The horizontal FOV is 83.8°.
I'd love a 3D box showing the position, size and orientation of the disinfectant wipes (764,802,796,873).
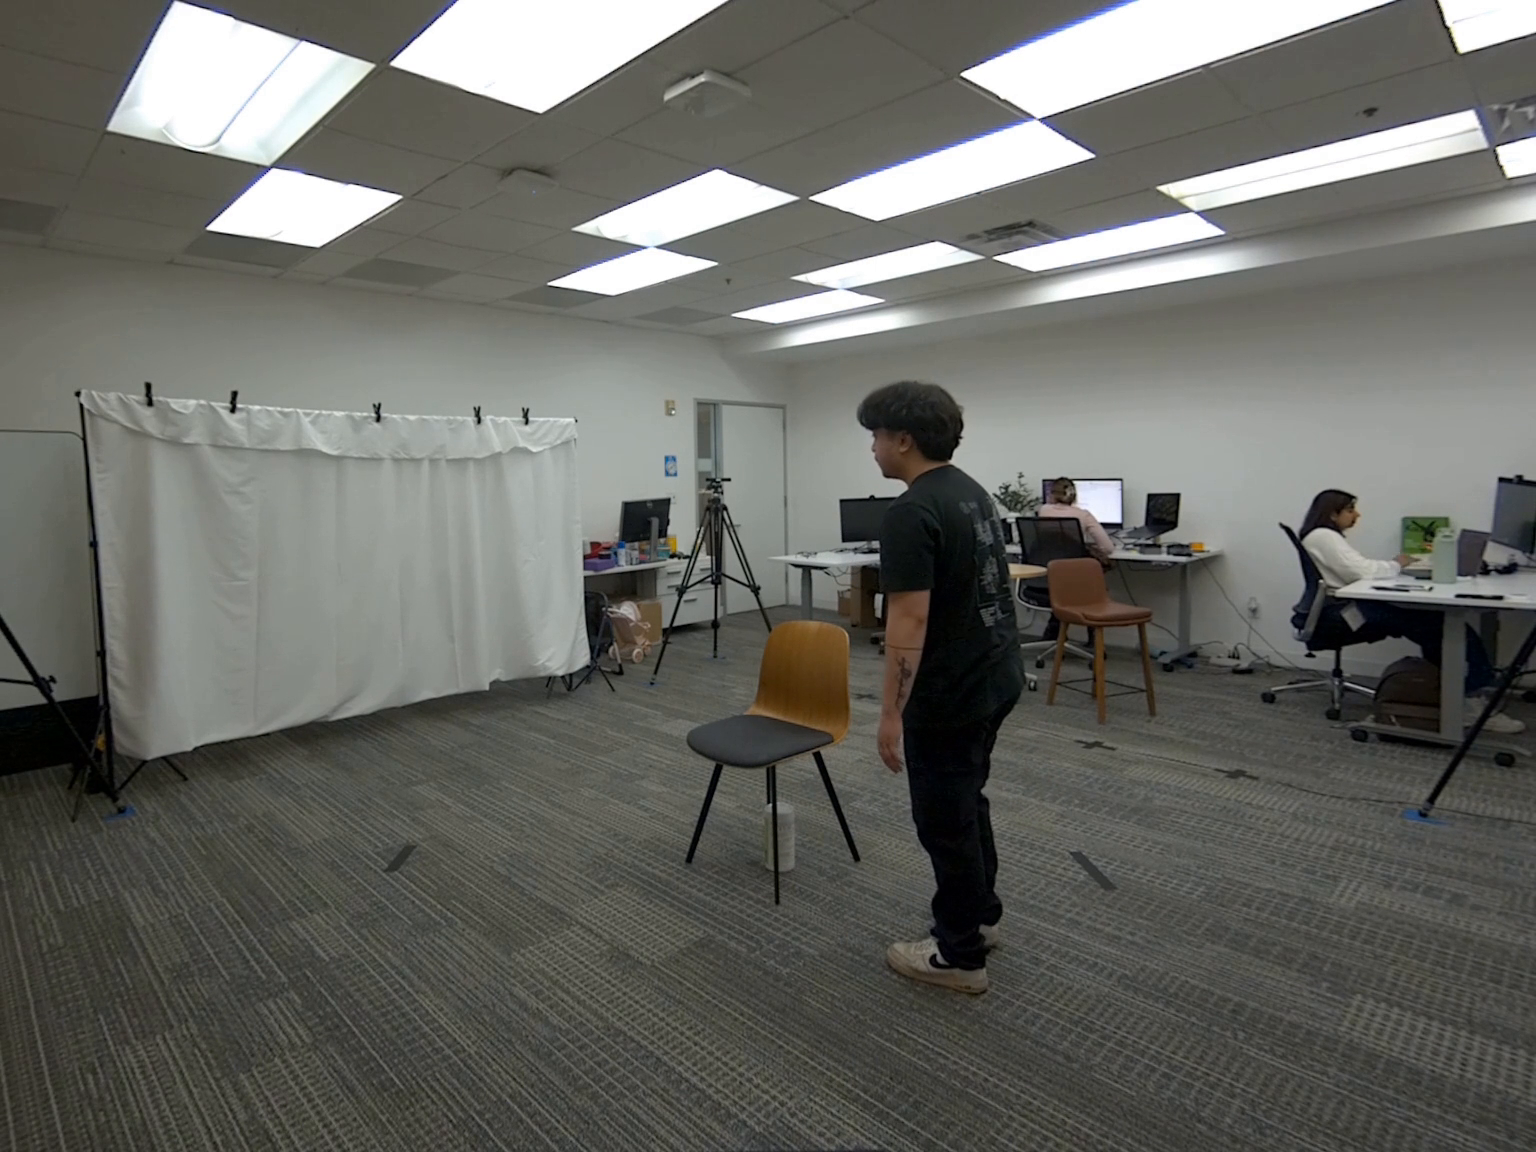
[{"bbox_3d":[0.051,0.952,3.074,0.118,0.217,0.118,0,3,-2],"label":"disinfectant wipes"}]
